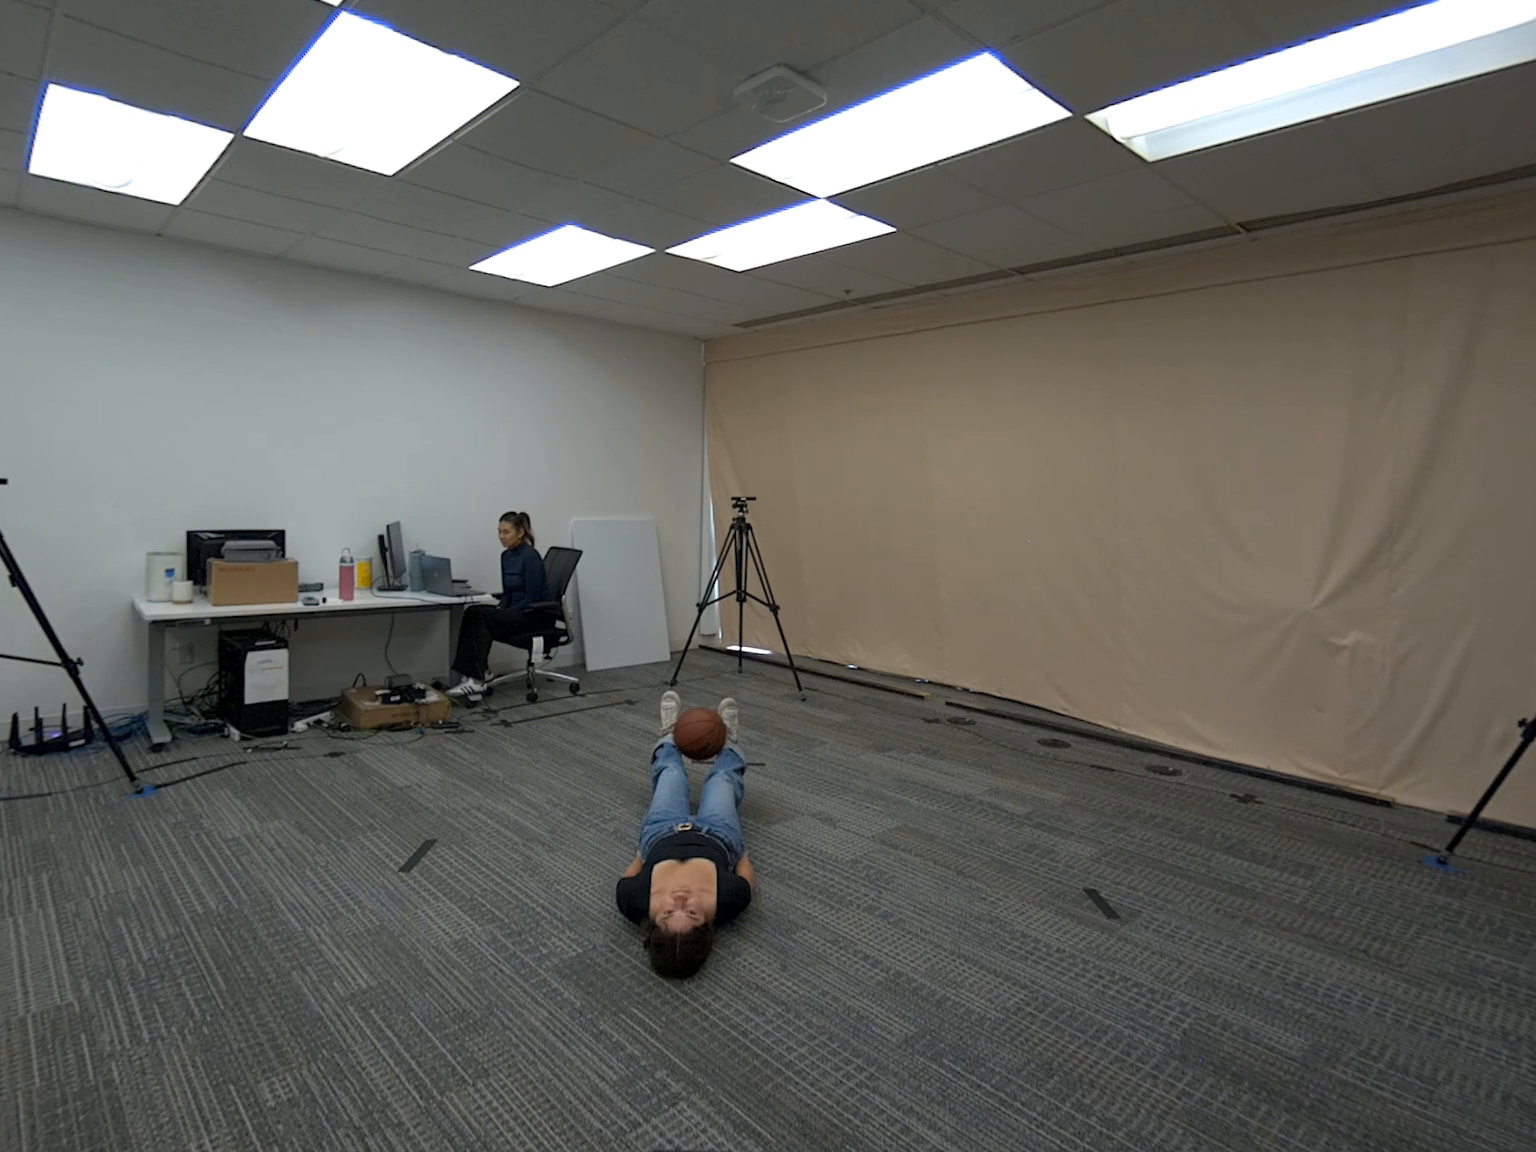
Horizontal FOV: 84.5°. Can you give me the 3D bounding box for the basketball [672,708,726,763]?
[{"bbox_3d":[-0.321,0.714,3.834,0.236,0.235,0.237,1,4,-1],"label":"basketball"}]
